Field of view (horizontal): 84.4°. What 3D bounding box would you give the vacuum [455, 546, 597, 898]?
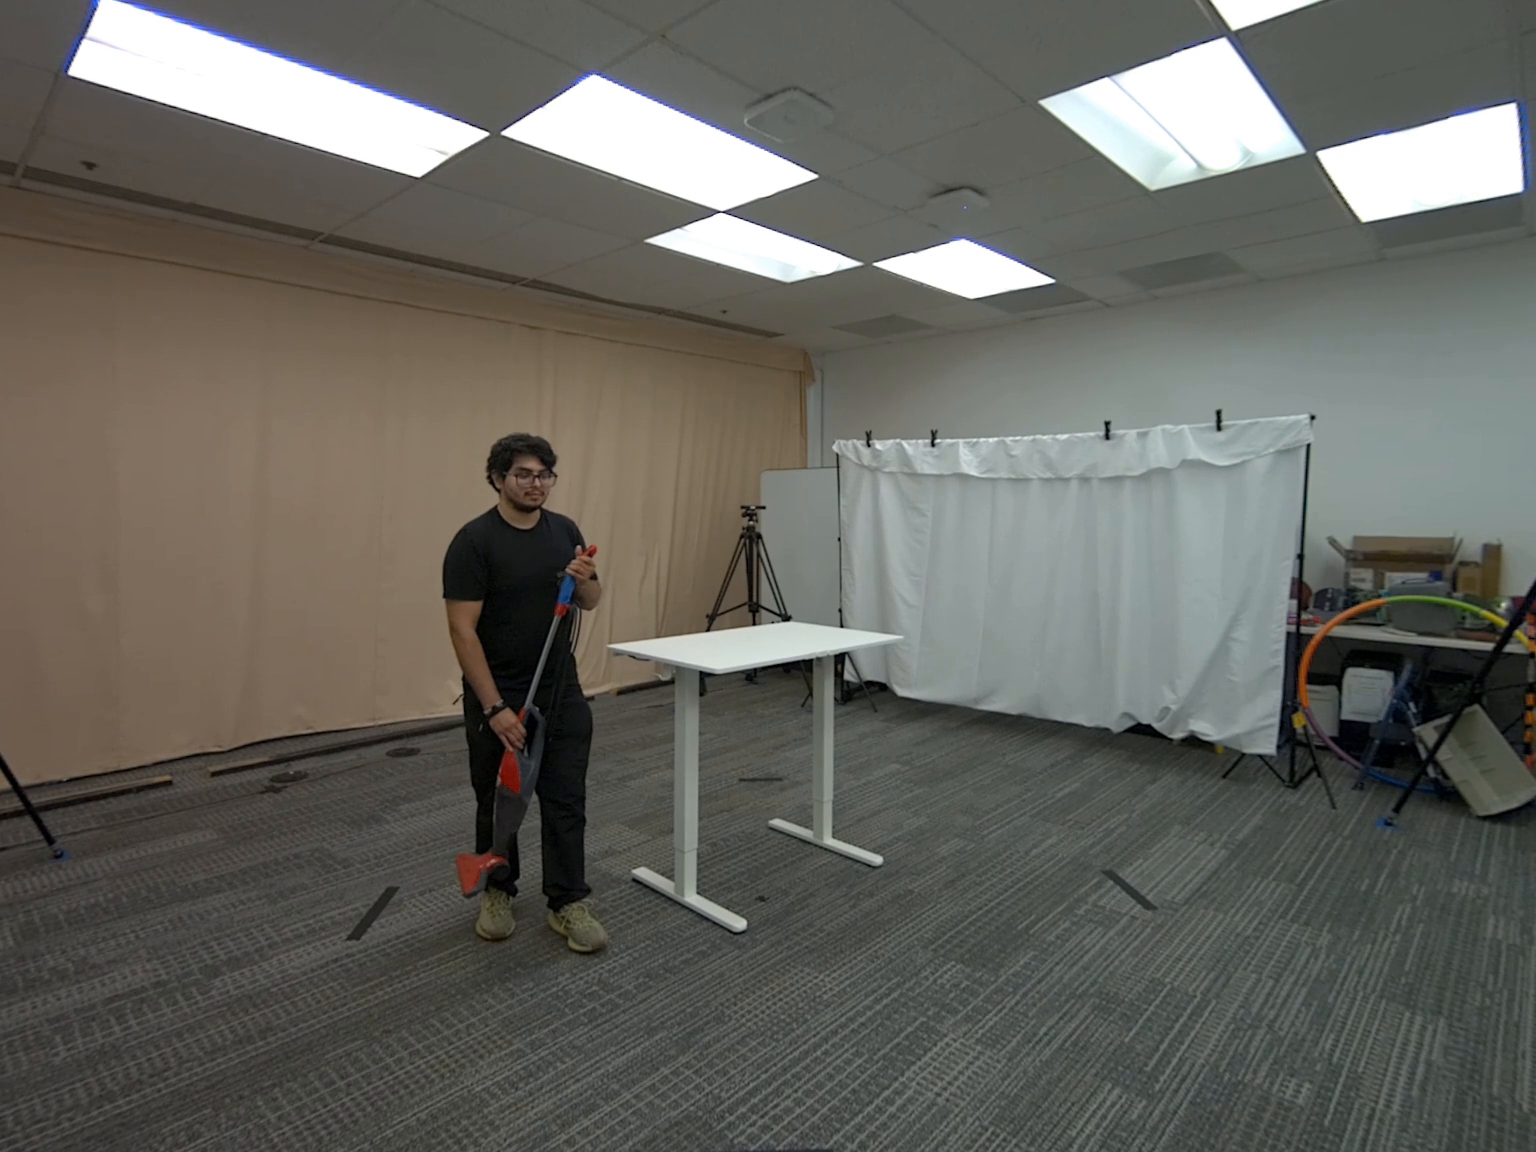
[{"bbox_3d":[-0.694,0.418,2.589,0.140,1.050,0.259,20,-2,-26],"label":"vacuum"}]
